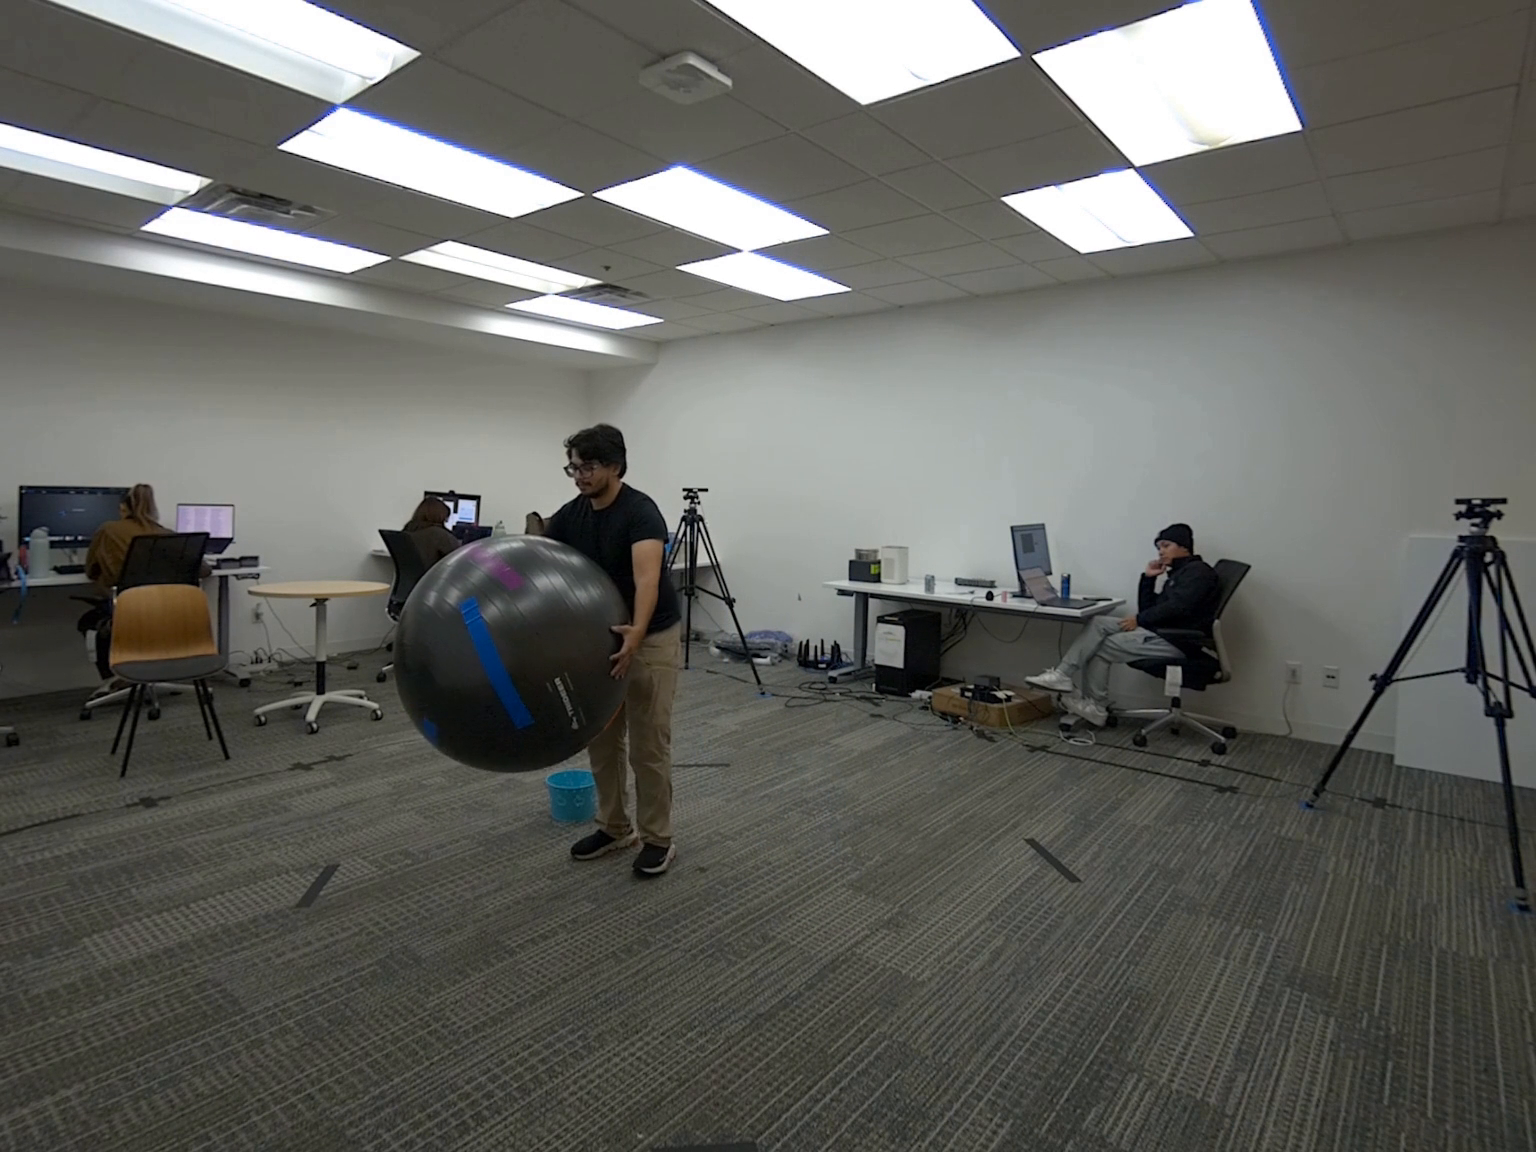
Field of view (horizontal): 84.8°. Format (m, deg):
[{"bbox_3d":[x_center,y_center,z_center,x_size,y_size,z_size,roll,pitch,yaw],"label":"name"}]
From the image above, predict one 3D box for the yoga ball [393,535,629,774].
[{"bbox_3d":[-0.822,0.249,2.747,0.757,0.755,0.762,1,4,-2],"label":"yoga ball"}]
